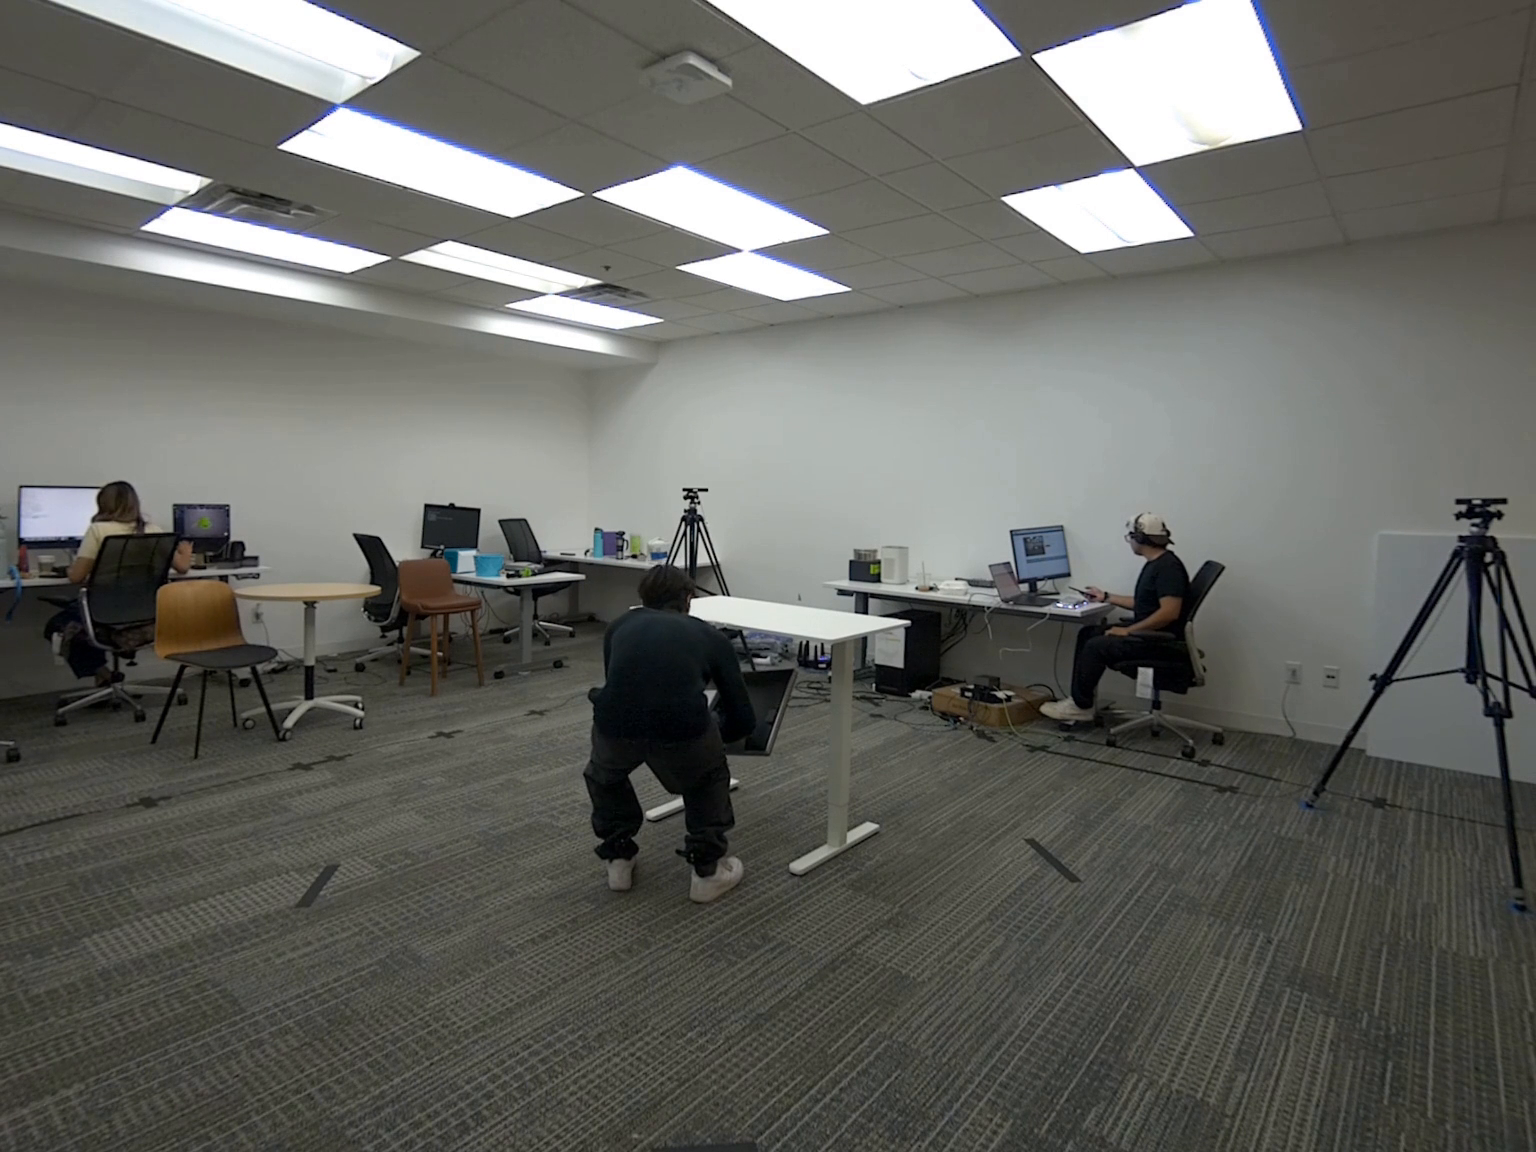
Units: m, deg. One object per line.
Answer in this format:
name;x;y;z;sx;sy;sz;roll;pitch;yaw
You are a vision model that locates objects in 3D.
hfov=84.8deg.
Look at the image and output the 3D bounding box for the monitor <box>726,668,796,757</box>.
monitor;-0.191;0.552;3.288;0.543;0.170;0.516;-10;28;39
